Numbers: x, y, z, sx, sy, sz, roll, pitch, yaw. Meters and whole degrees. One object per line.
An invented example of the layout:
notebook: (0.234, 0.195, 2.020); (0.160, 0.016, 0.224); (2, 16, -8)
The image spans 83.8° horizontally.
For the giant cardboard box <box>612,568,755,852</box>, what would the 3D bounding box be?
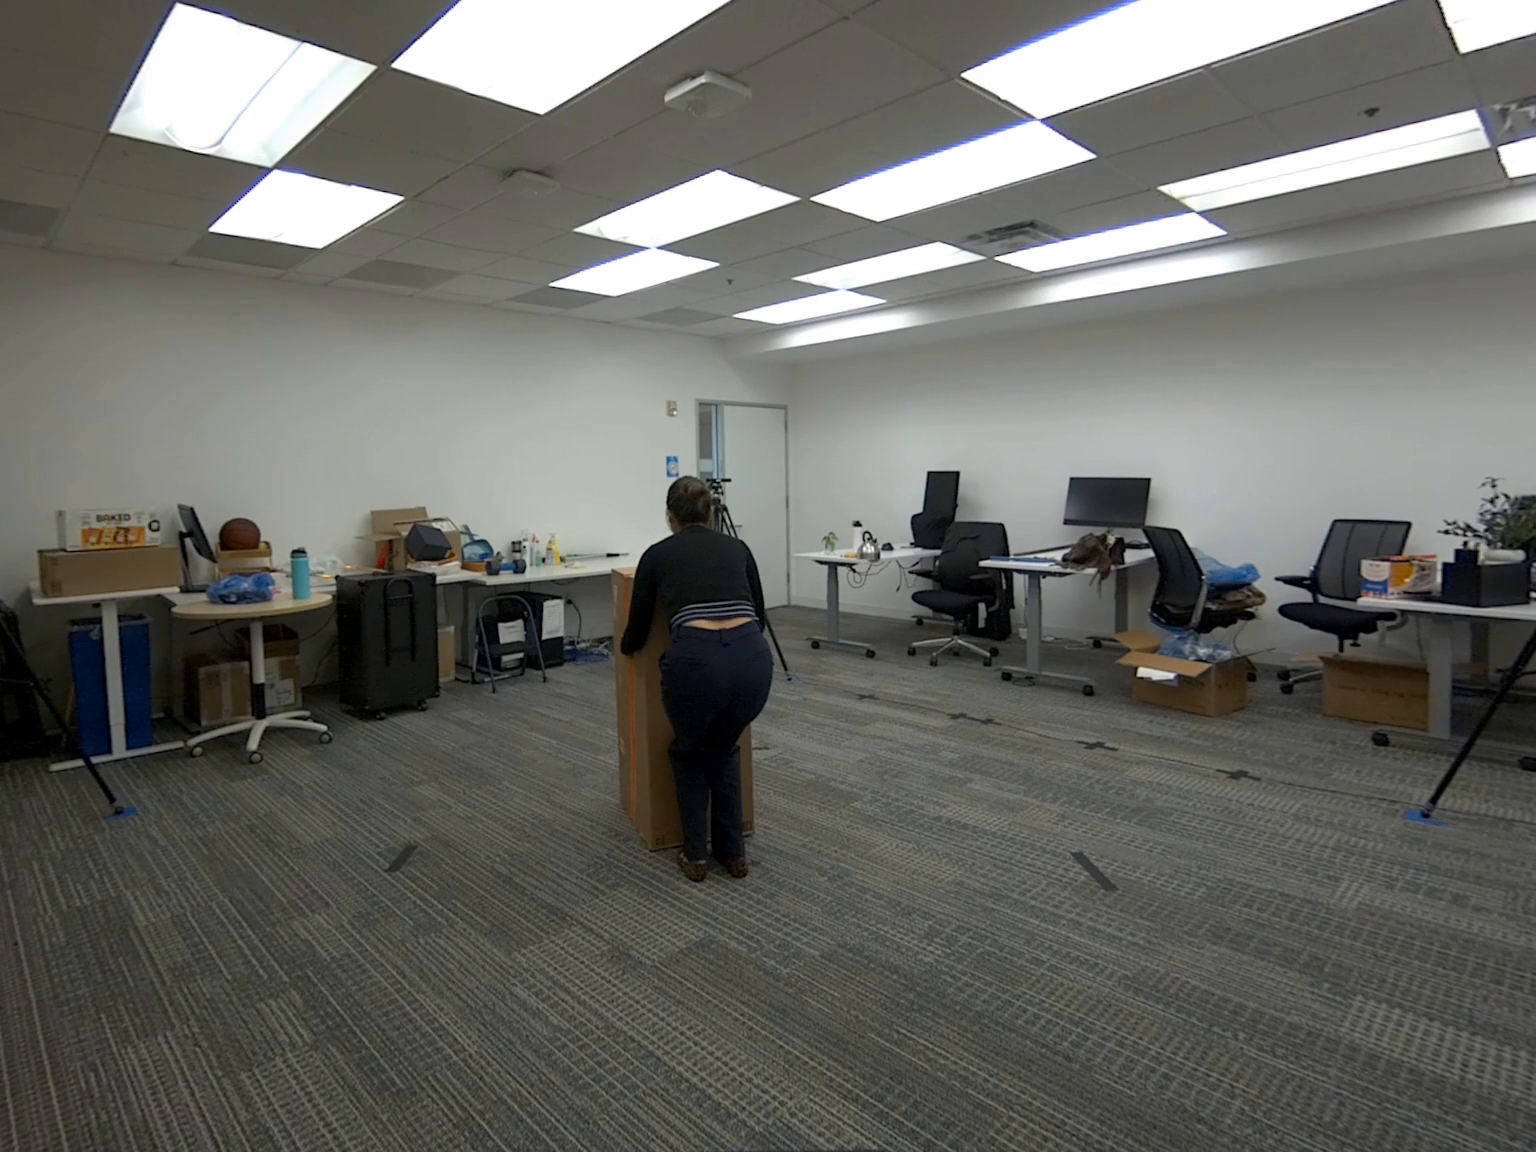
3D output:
giant cardboard box: (-0.368, 0.490, 3.520); (0.419, 1.023, 0.589); (-3, 4, -19)
